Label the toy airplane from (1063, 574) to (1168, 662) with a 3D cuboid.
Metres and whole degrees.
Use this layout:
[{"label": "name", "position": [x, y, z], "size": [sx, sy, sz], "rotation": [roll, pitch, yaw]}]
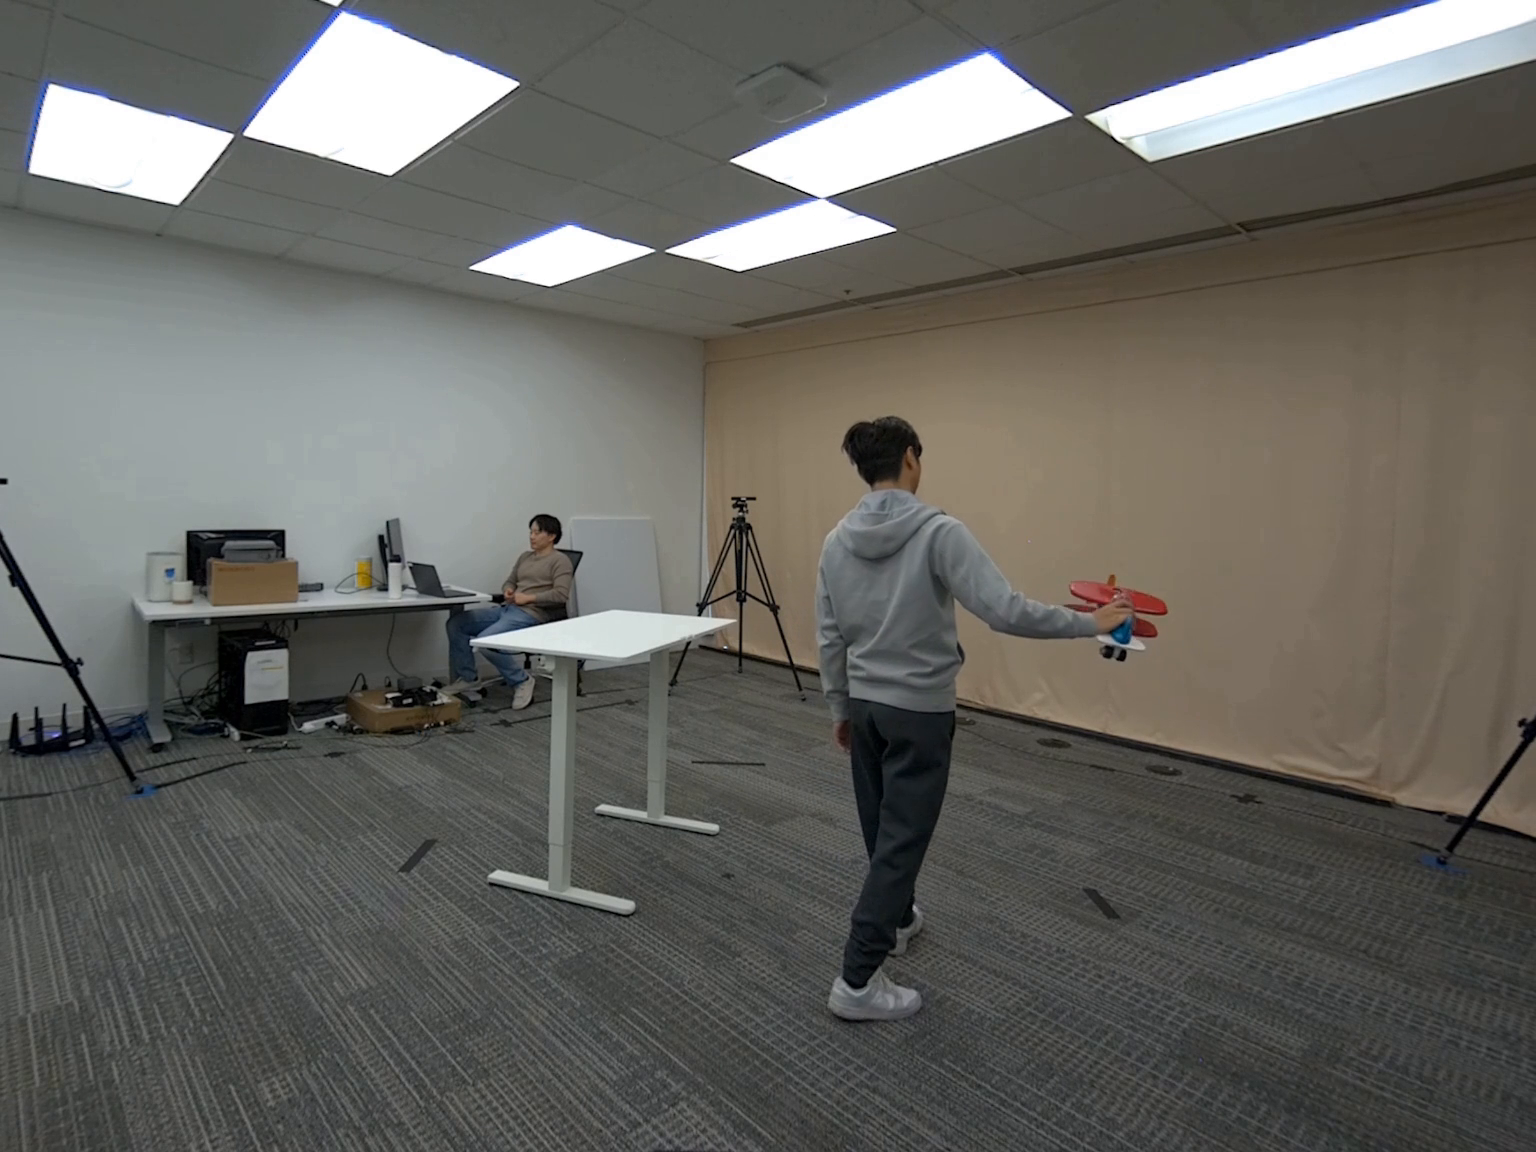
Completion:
[{"label": "toy airplane", "position": [0.965, 0.107, 2.288], "size": [0.247, 0.155, 0.266], "rotation": [3, 20, -19]}]
